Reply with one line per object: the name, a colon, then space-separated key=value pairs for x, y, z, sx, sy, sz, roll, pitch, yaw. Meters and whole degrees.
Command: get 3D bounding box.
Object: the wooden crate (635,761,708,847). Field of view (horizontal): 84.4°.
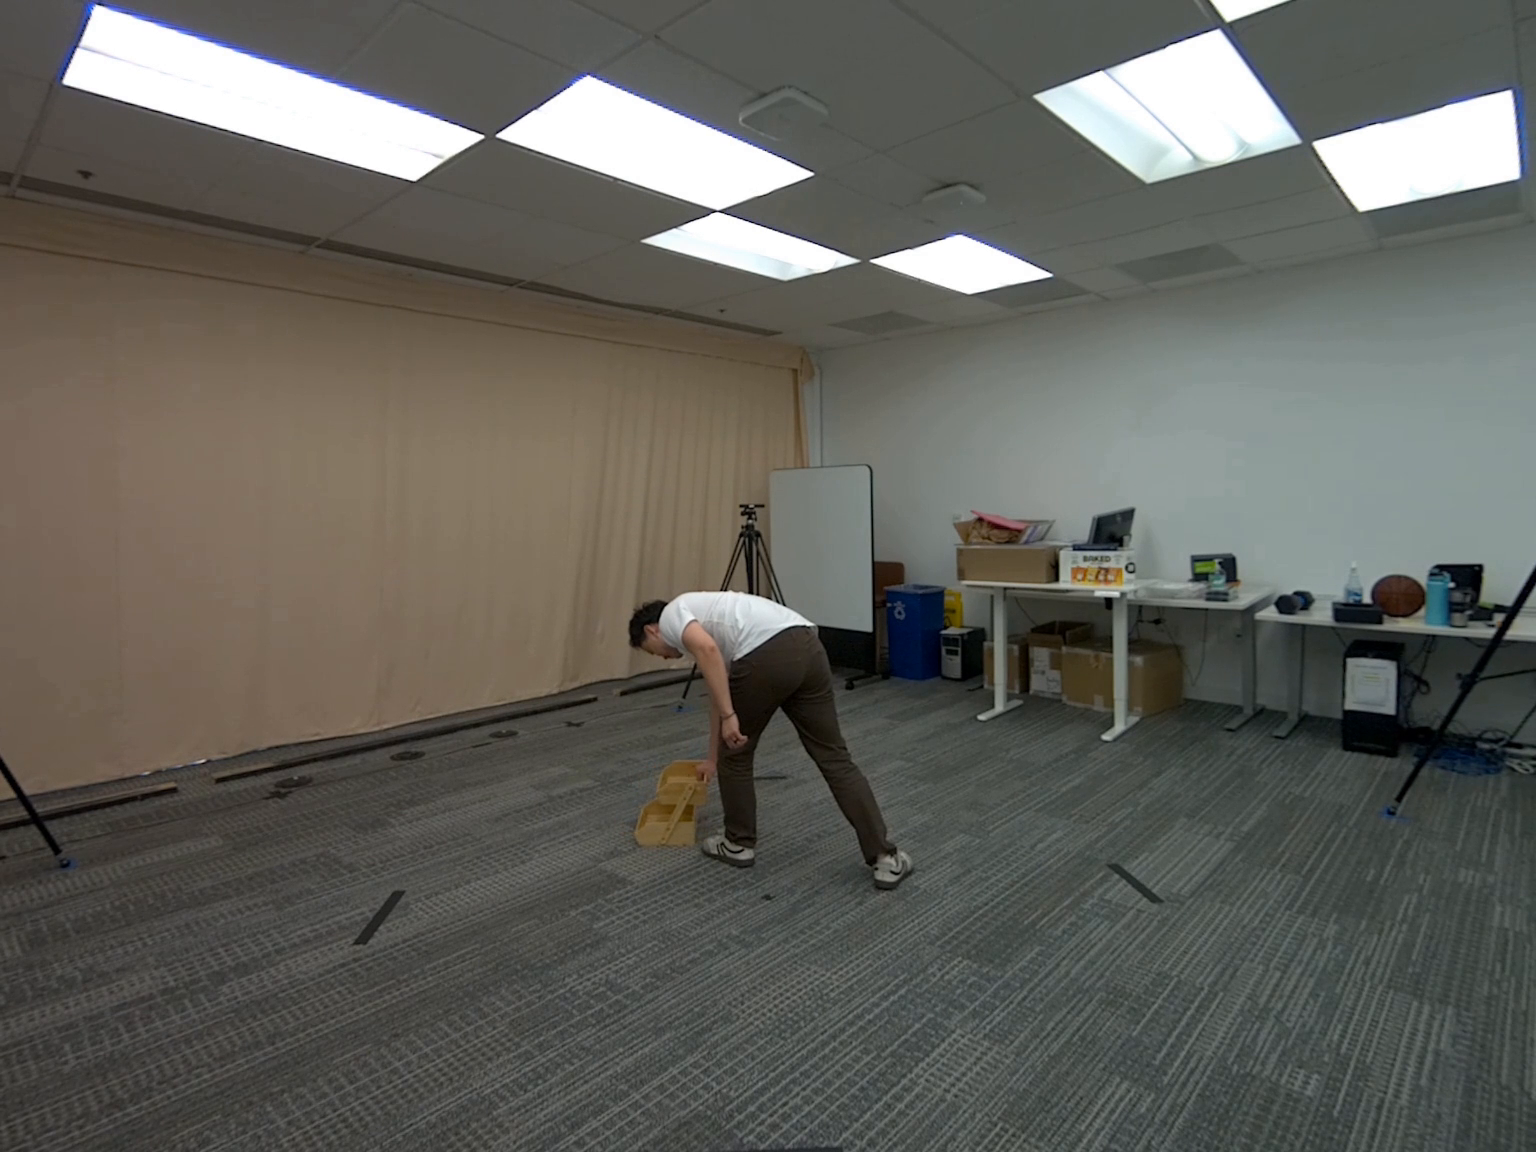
wooden crate: x=-0.410 y=0.960 z=3.610 sx=0.302 sy=0.273 sz=0.325 roll=0 pitch=4 yaw=-1
